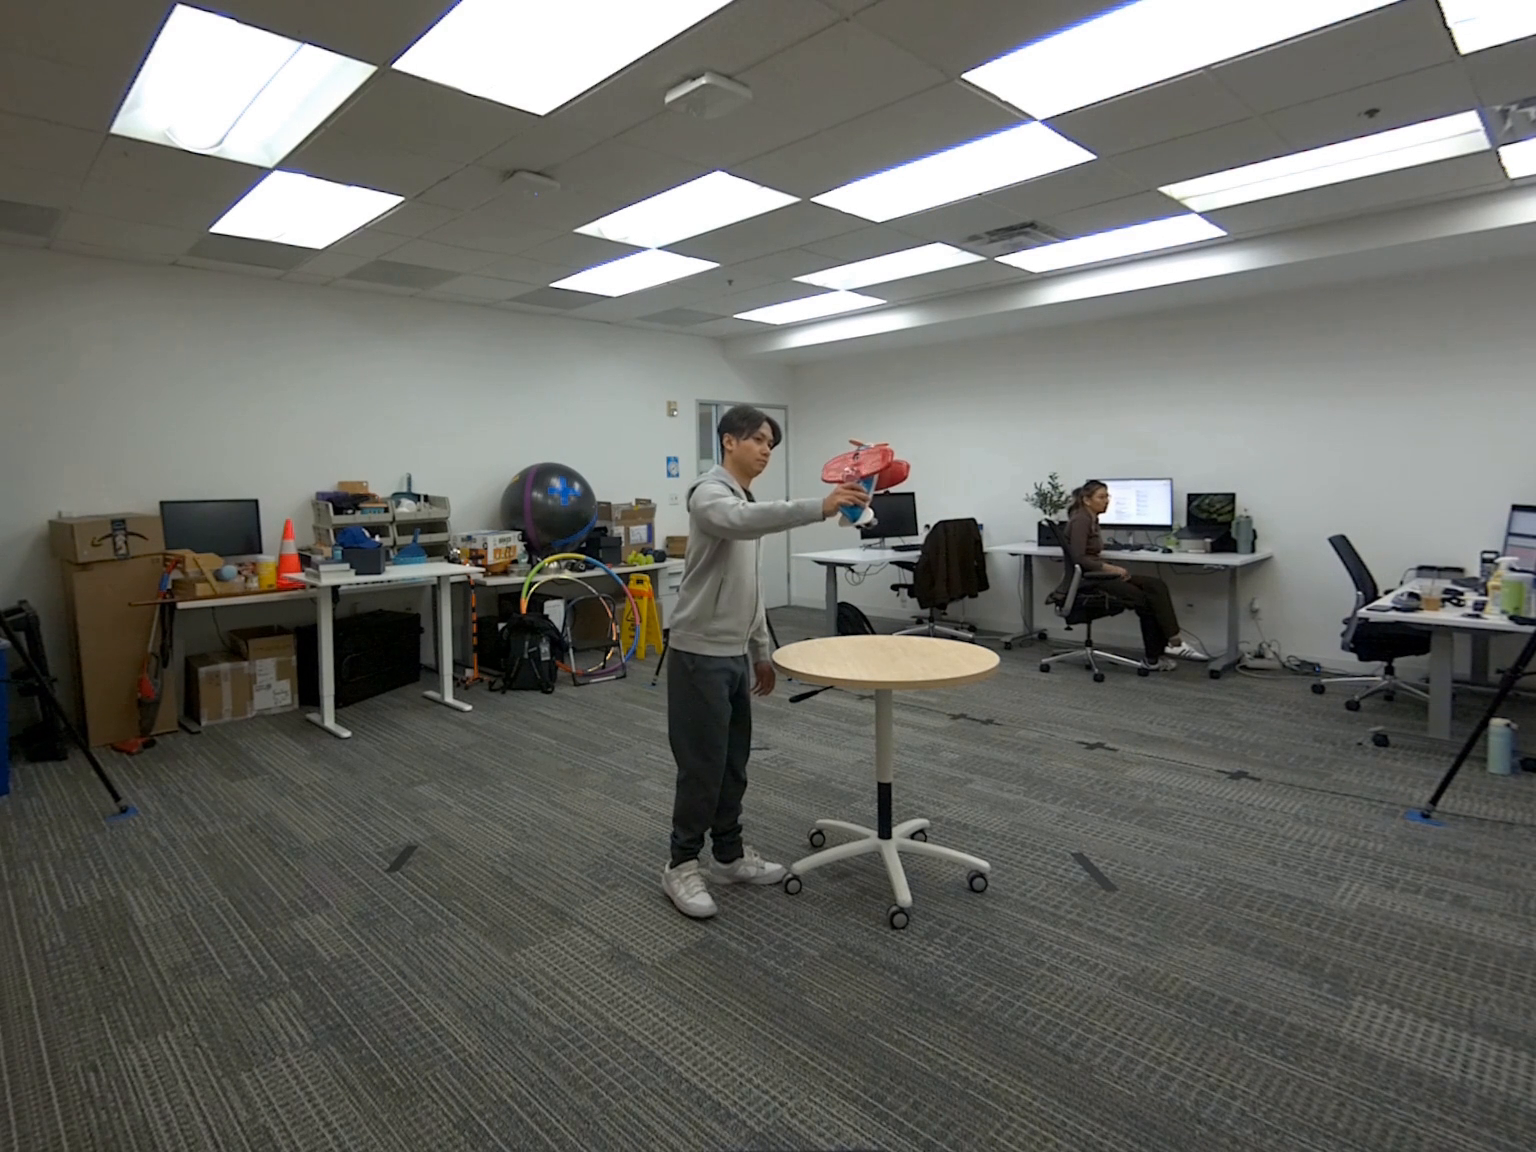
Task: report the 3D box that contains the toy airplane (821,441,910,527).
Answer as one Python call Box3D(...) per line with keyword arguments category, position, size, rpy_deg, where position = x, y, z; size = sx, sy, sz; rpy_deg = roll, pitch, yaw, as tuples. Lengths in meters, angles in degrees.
Box3D(category="toy airplane", position=(0.298, -0.265, 2.455), size=(0.253, 0.151, 0.266), rpy_deg=(-30, 33, 24))
